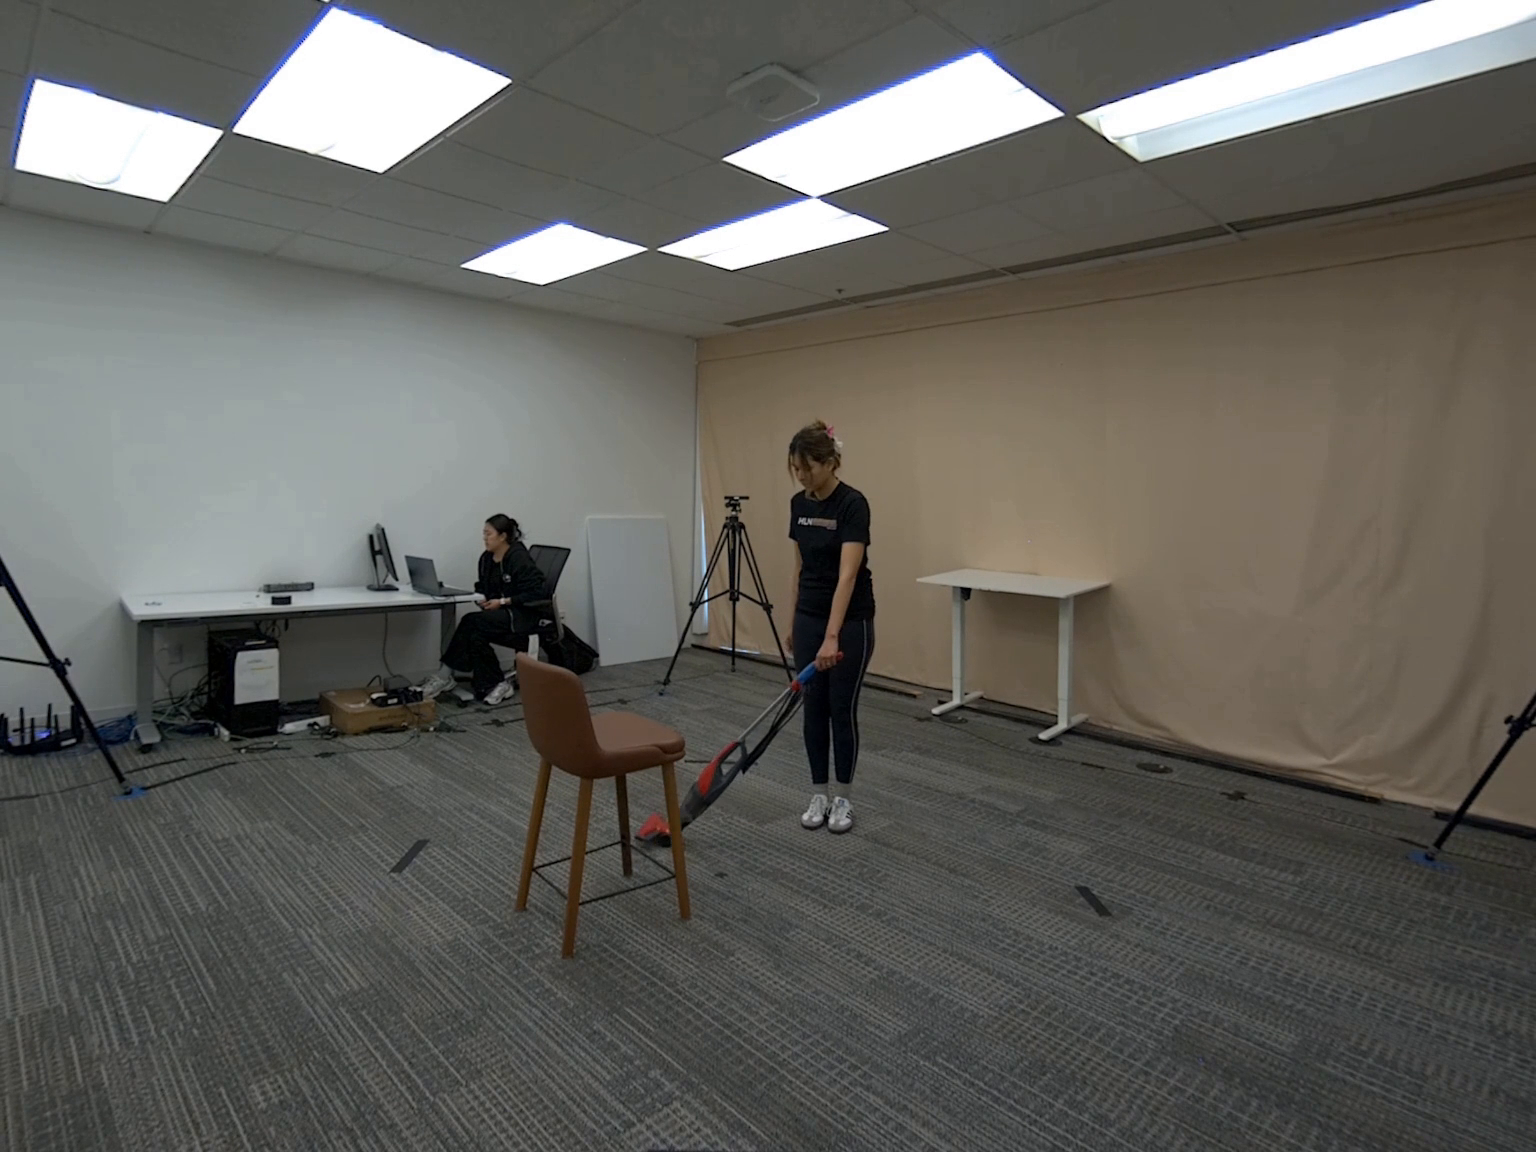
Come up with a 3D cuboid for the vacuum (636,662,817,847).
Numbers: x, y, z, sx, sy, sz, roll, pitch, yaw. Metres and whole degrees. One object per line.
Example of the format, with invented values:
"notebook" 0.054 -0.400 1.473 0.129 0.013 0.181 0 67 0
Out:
"vacuum" -0.084 0.682 3.314 0.145 1.050 0.251 46 11 4
